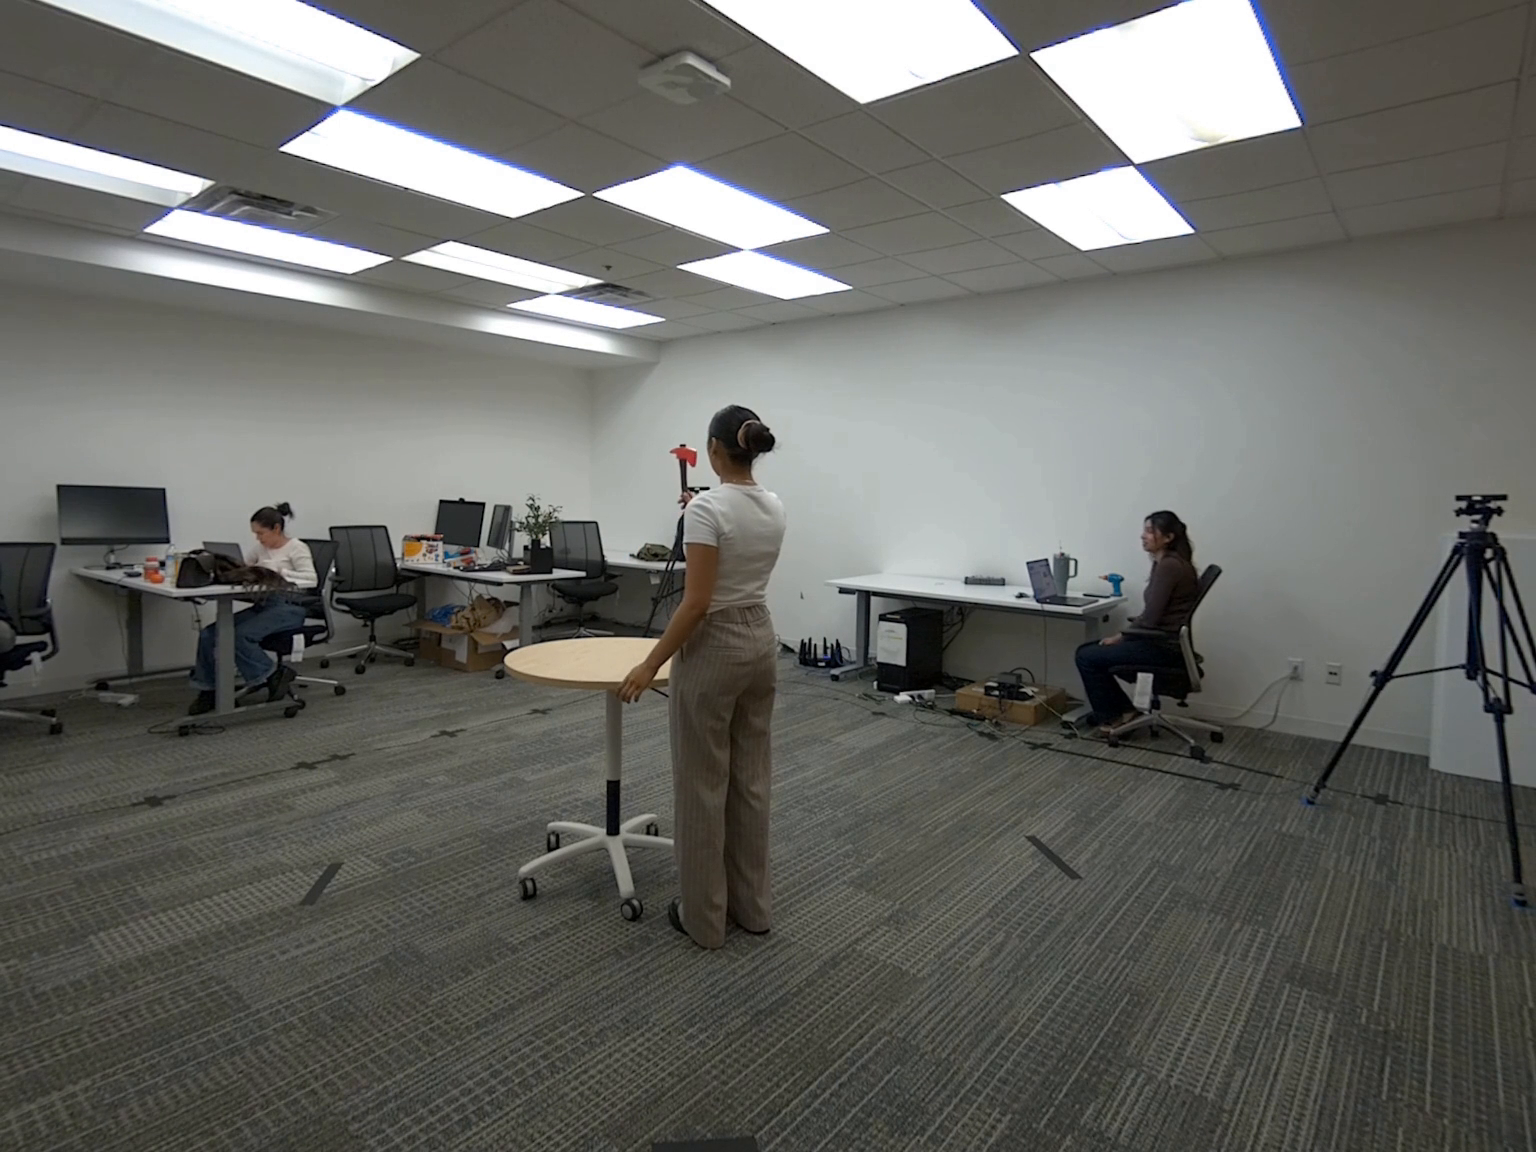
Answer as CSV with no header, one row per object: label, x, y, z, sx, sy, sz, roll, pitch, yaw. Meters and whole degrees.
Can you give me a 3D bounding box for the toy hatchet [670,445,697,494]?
toy hatchet,-0.285,-0.345,3.029,0.134,0.271,0.029,-18,-4,41
